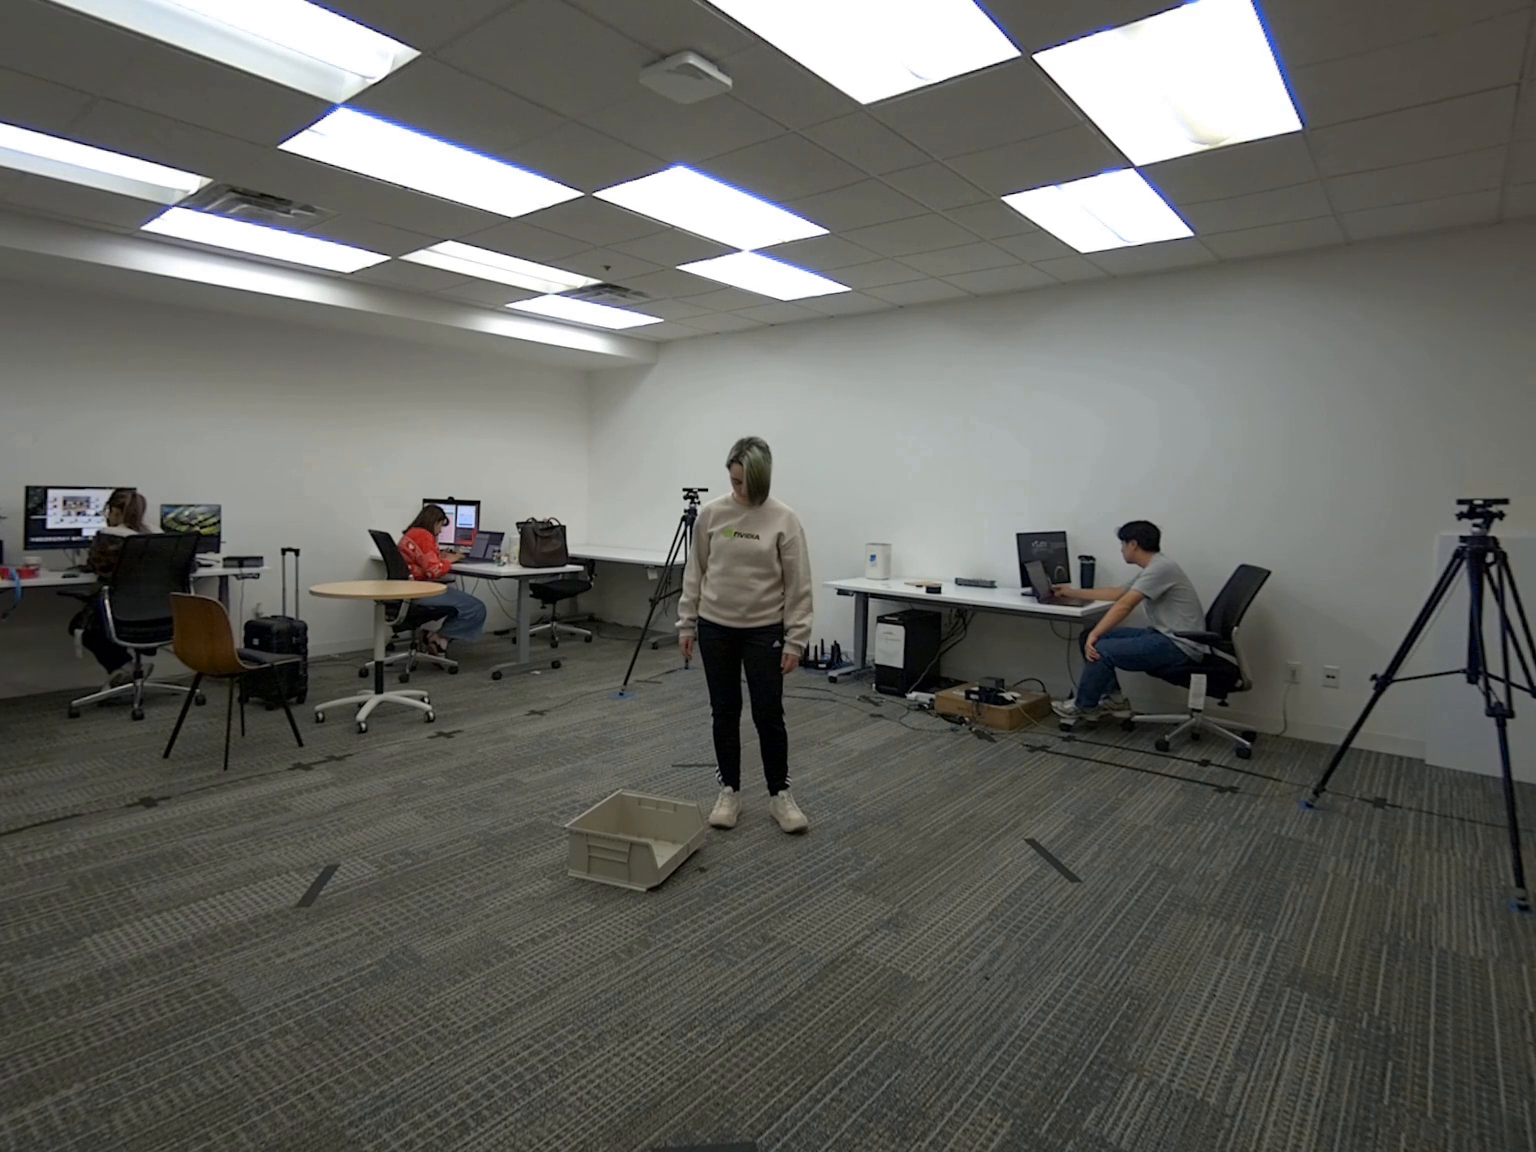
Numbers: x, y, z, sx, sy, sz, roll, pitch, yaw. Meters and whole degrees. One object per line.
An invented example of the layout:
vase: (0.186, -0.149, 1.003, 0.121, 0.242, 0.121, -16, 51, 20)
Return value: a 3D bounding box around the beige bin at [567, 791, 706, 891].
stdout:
beige bin: (-0.494, 0.972, 3.154, 0.386, 0.188, 0.415, 2, 5, 20)
